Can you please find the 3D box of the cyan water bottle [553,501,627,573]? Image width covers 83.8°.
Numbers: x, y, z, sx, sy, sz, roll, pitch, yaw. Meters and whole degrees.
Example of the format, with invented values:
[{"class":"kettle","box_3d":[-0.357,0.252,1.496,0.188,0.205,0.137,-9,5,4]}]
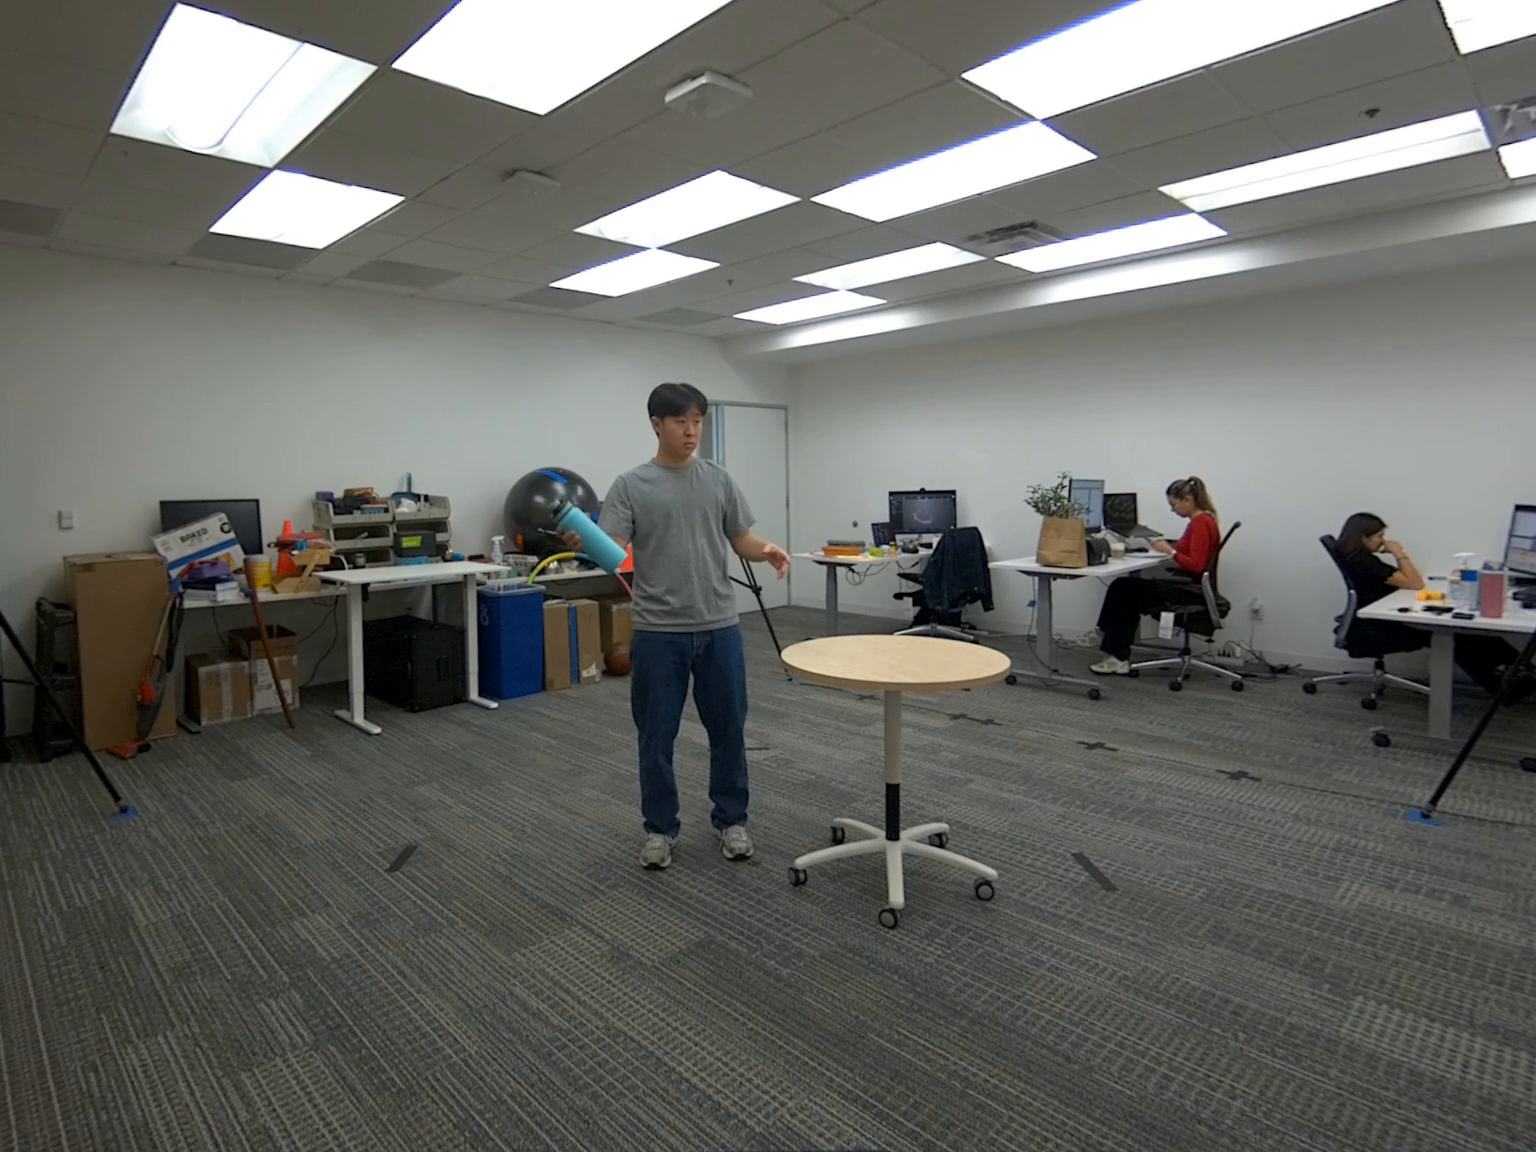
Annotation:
[{"class":"cyan water bottle","box_3d":[-0.558,-0.152,2.702,0.092,0.279,0.093,-42,11,10]}]
